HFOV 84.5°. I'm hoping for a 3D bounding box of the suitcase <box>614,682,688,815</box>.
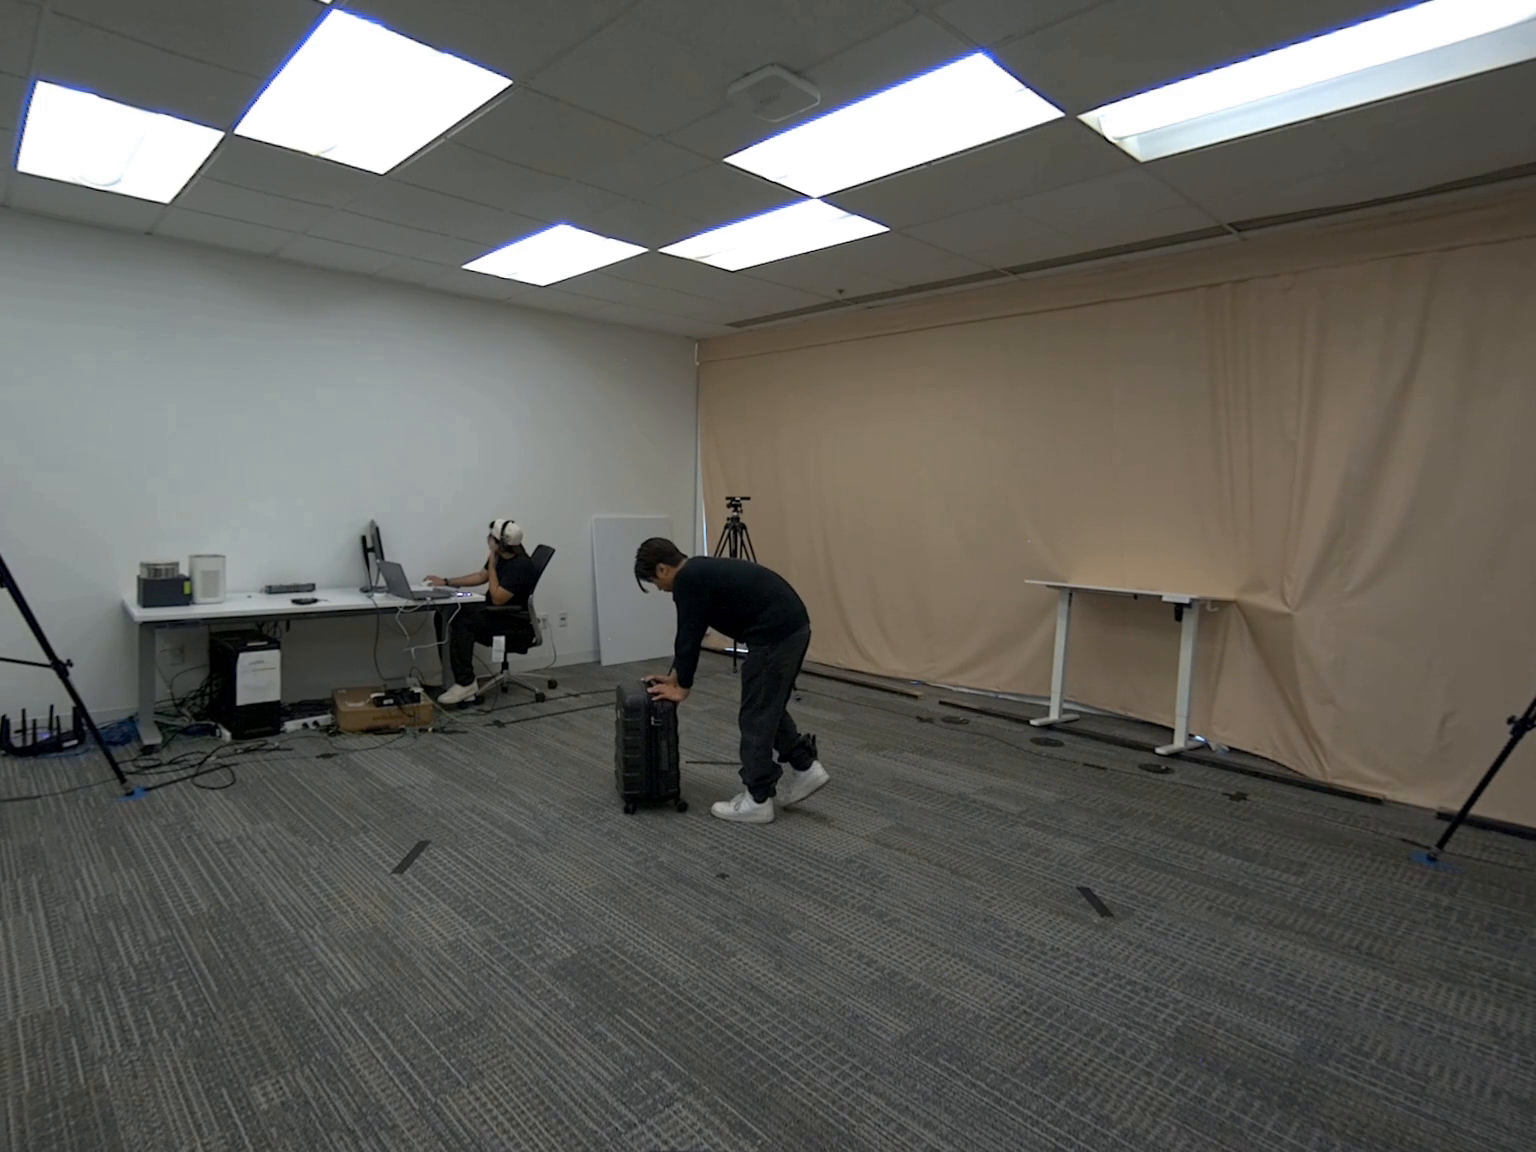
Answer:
[{"bbox_3d":[-0.556,0.757,3.838,0.245,0.548,0.381,-1,5,-16],"label":"suitcase"}]
